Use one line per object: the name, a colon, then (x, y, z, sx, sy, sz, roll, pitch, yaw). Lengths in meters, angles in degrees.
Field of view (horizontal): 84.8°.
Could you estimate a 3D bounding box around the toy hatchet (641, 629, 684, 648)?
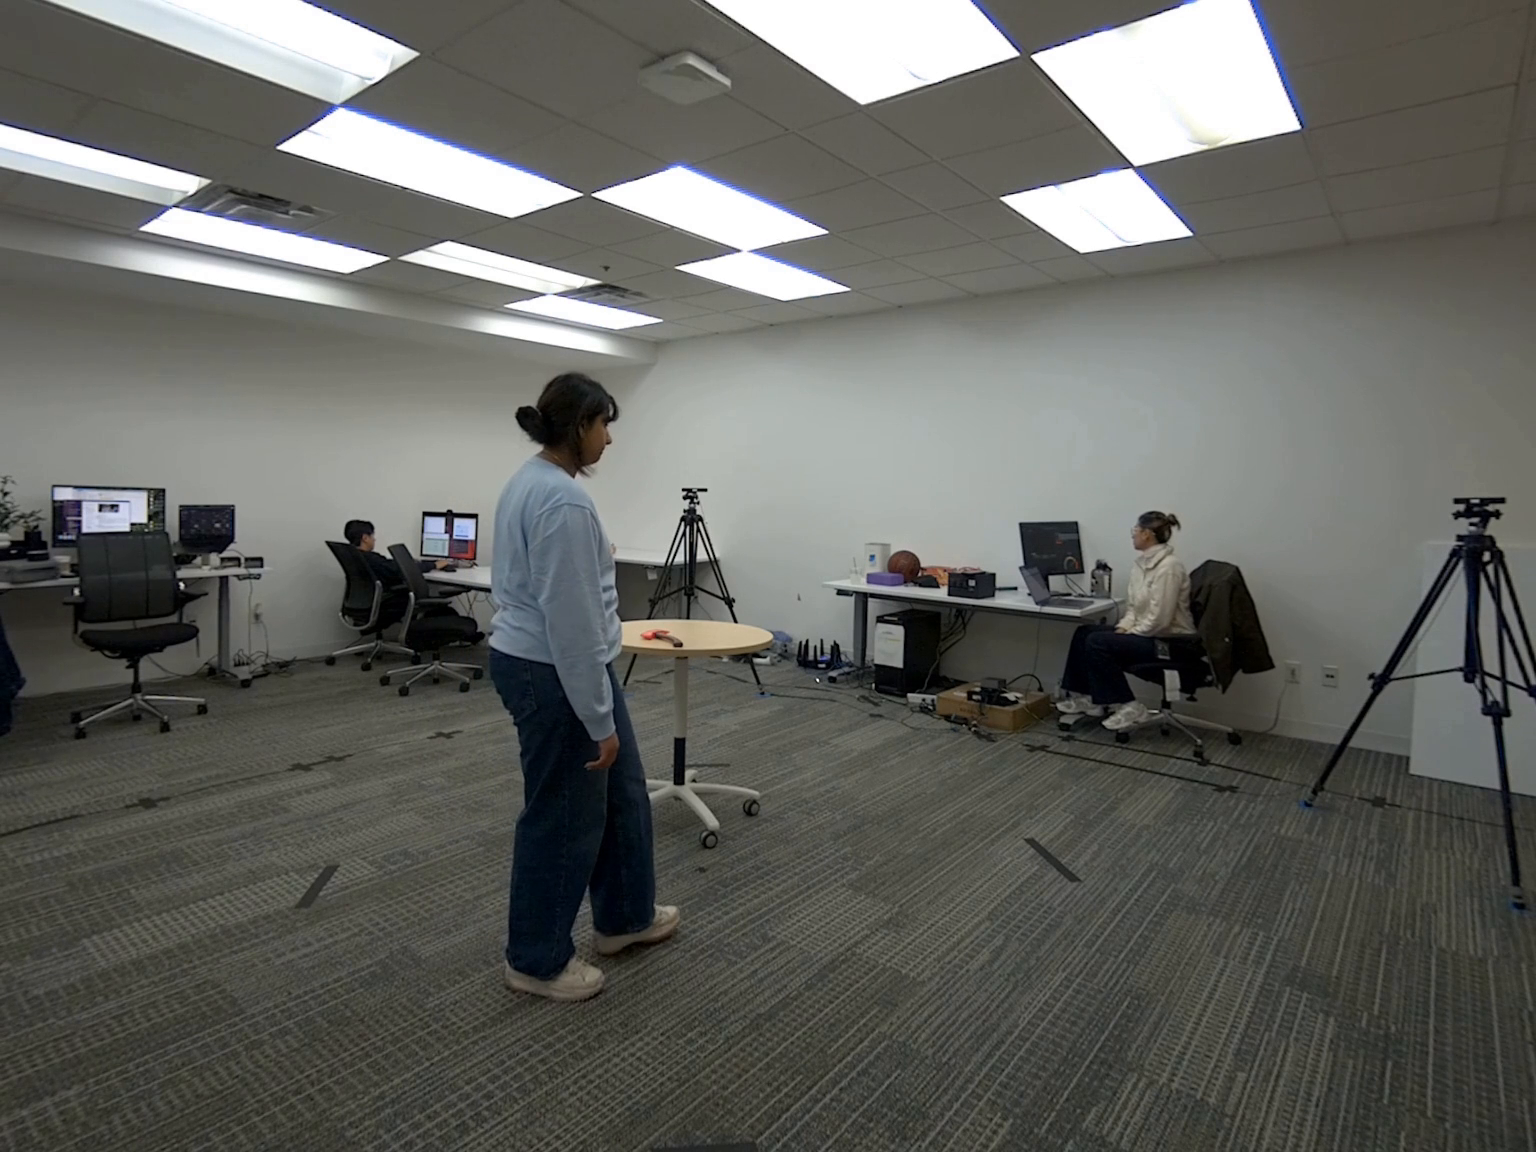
toy hatchet: (-0.445, 0.244, 3.344, 0.129, 0.029, 0.276, 0, 7, -17)
